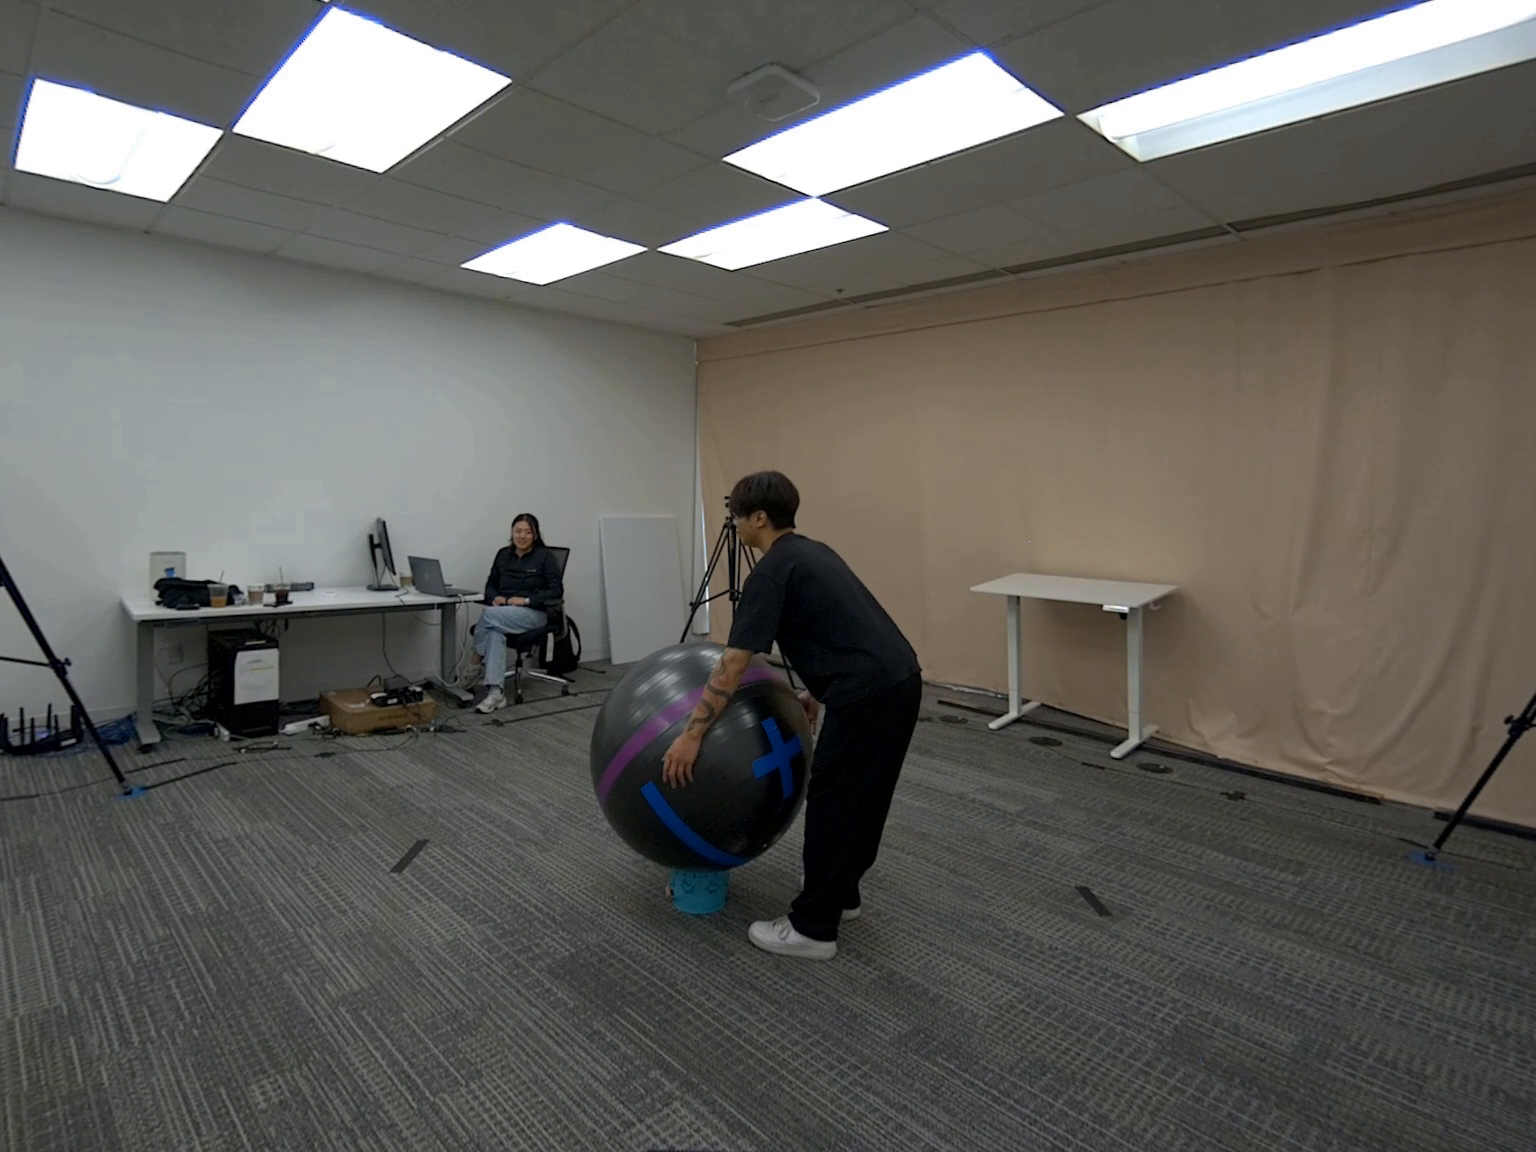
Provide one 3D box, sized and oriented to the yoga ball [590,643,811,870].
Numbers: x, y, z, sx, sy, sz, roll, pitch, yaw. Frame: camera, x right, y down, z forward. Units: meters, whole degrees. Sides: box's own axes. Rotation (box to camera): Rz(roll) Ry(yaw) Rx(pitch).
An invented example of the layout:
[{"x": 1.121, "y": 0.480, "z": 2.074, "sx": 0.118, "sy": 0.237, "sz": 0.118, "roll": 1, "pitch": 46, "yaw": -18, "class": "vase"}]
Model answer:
[{"x": -0.236, "y": 0.611, "z": 2.879, "sx": 0.757, "sy": 0.756, "sz": 0.761, "roll": 1, "pitch": 4, "yaw": -1, "class": "yoga ball"}]
